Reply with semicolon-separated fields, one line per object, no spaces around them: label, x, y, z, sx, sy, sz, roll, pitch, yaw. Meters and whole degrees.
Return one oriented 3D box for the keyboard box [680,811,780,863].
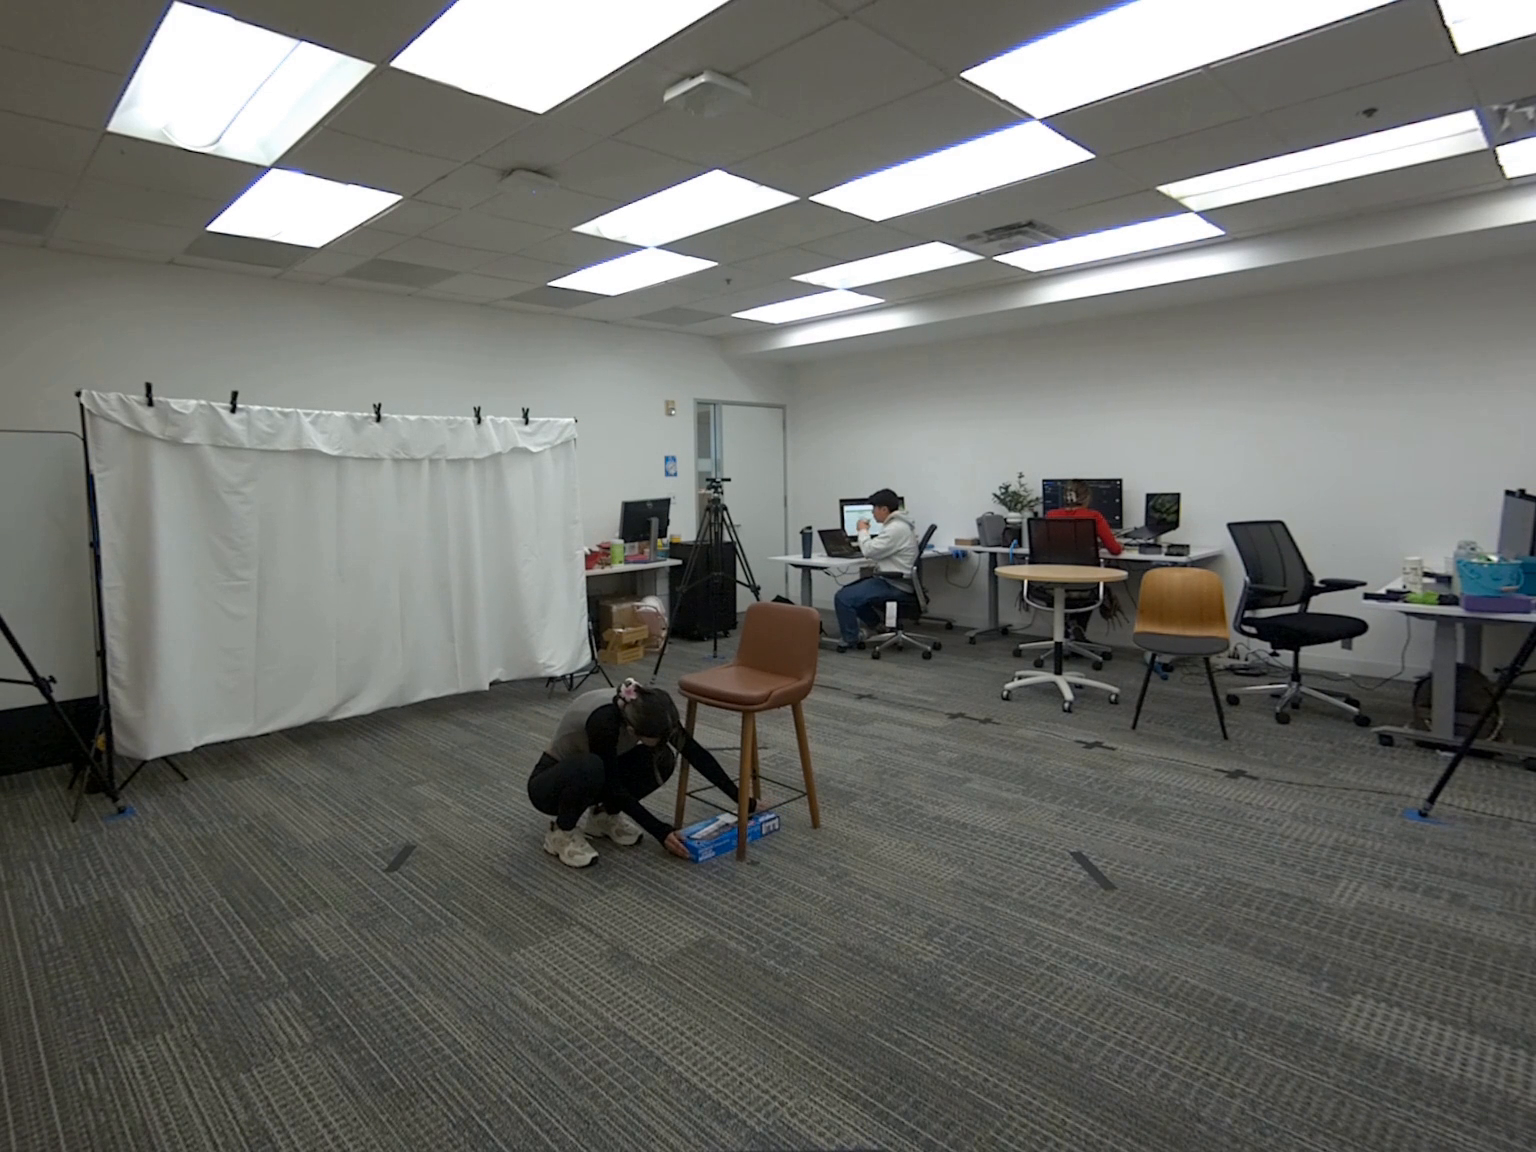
keyboard box;-0.170;0.984;3.315;0.425;0.059;0.181;-6;8;-43
